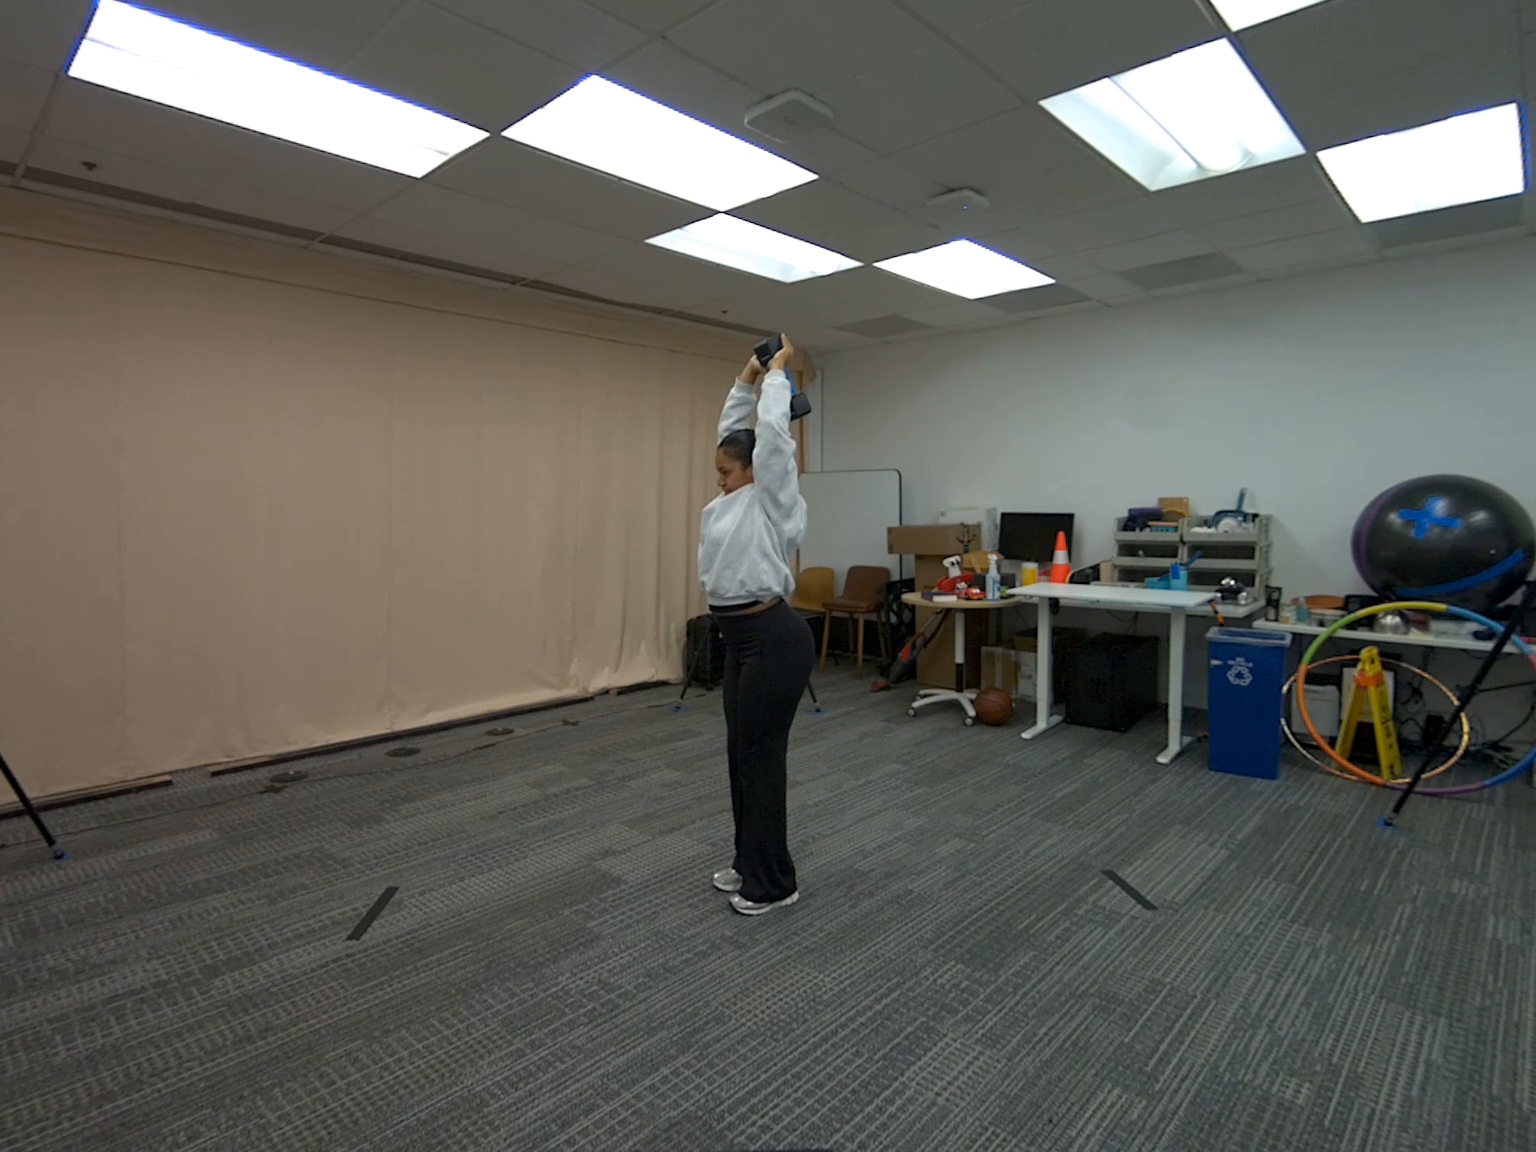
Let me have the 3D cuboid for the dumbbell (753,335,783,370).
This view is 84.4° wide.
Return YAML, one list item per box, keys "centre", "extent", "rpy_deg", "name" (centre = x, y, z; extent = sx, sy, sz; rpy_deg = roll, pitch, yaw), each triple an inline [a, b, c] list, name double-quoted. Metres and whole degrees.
- centre: [0.059, -0.679, 2.947]
  extent: [0.126, 0.291, 0.107]
  rpy_deg: [-16, 12, 36]
  name: "dumbbell"
